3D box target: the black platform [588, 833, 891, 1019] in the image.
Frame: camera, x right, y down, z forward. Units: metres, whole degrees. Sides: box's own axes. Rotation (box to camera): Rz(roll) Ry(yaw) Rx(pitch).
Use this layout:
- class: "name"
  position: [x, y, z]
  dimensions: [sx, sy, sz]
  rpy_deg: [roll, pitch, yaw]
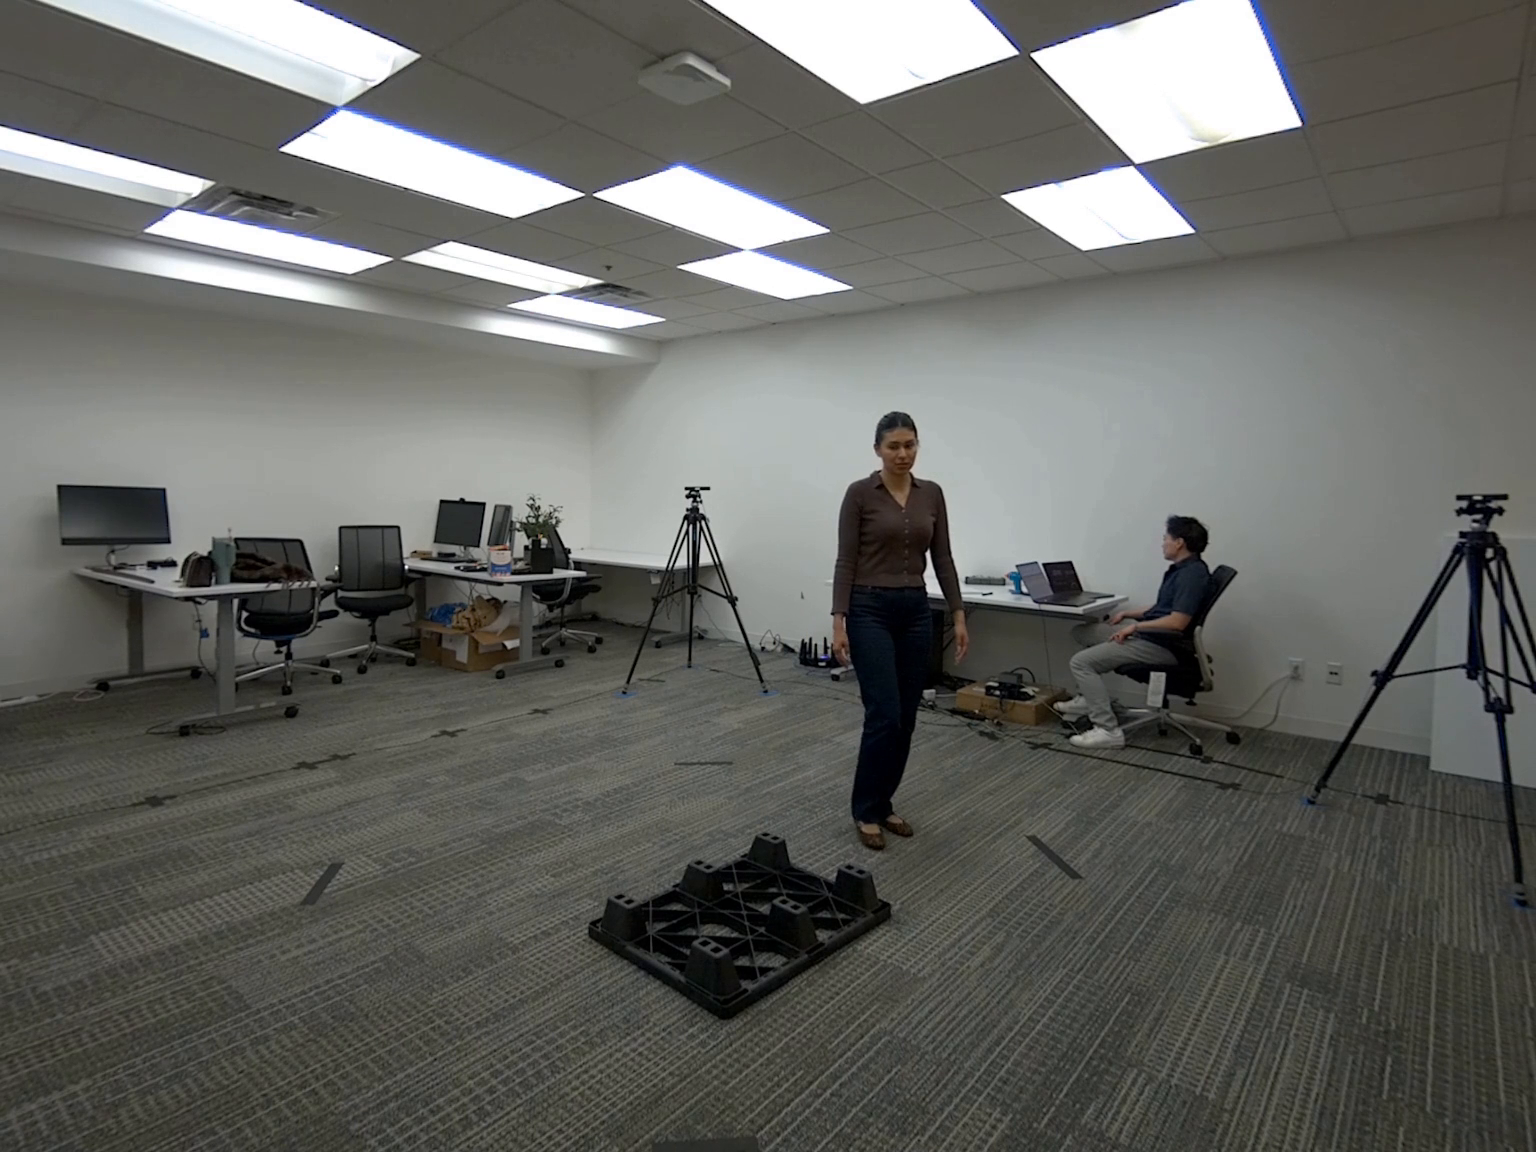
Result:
- class: "black platform"
  position: [-0.084, 1.042, 2.706]
  dimensions: [0.626, 0.143, 0.781]
  rpy_deg: [6, 8, 42]
